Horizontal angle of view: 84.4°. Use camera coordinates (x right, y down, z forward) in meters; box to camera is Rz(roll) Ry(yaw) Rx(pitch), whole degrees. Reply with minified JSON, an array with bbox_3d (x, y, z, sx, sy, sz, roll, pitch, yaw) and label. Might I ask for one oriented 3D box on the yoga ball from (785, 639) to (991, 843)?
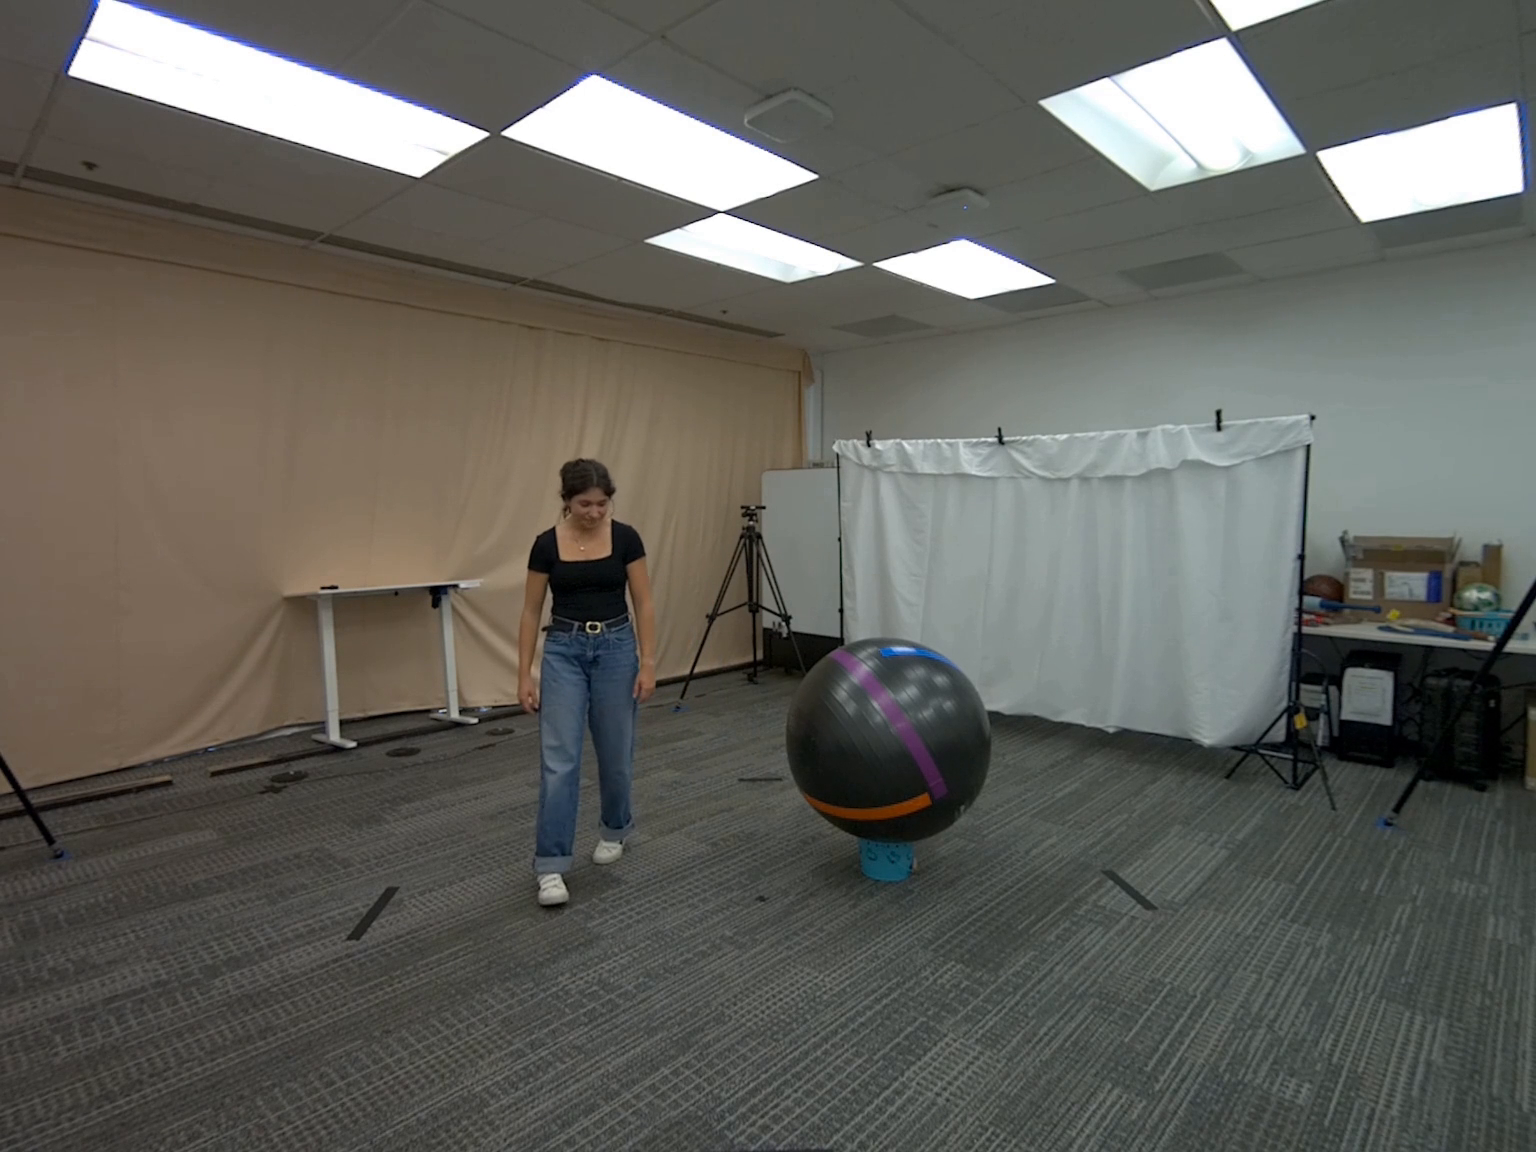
[{"bbox_3d":[0.458,0.624,3.188,0.757,0.756,0.760,0,4,-2],"label":"yoga ball"}]
